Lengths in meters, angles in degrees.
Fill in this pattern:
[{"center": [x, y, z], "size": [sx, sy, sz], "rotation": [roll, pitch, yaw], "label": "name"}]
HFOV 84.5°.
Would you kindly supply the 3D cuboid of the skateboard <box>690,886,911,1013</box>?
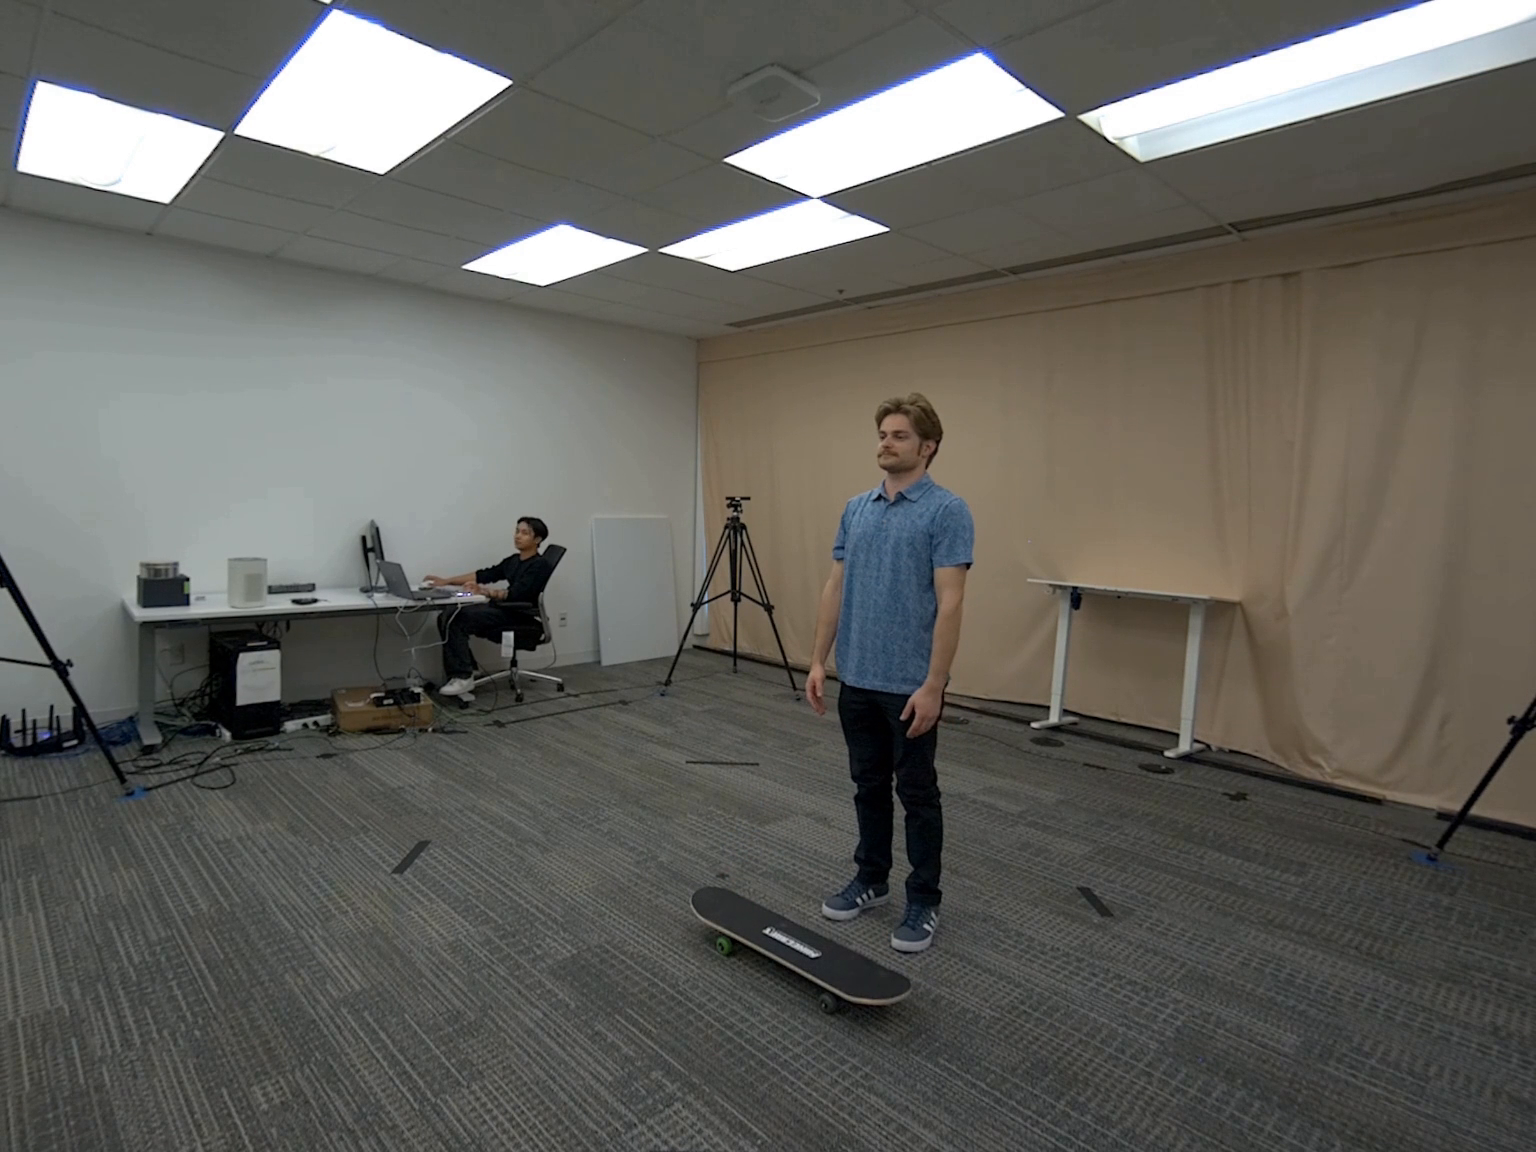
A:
[{"center": [0.062, 1.113, 2.484], "size": [0.806, 0.110, 0.189], "rotation": [7, 7, 43], "label": "skateboard"}]
